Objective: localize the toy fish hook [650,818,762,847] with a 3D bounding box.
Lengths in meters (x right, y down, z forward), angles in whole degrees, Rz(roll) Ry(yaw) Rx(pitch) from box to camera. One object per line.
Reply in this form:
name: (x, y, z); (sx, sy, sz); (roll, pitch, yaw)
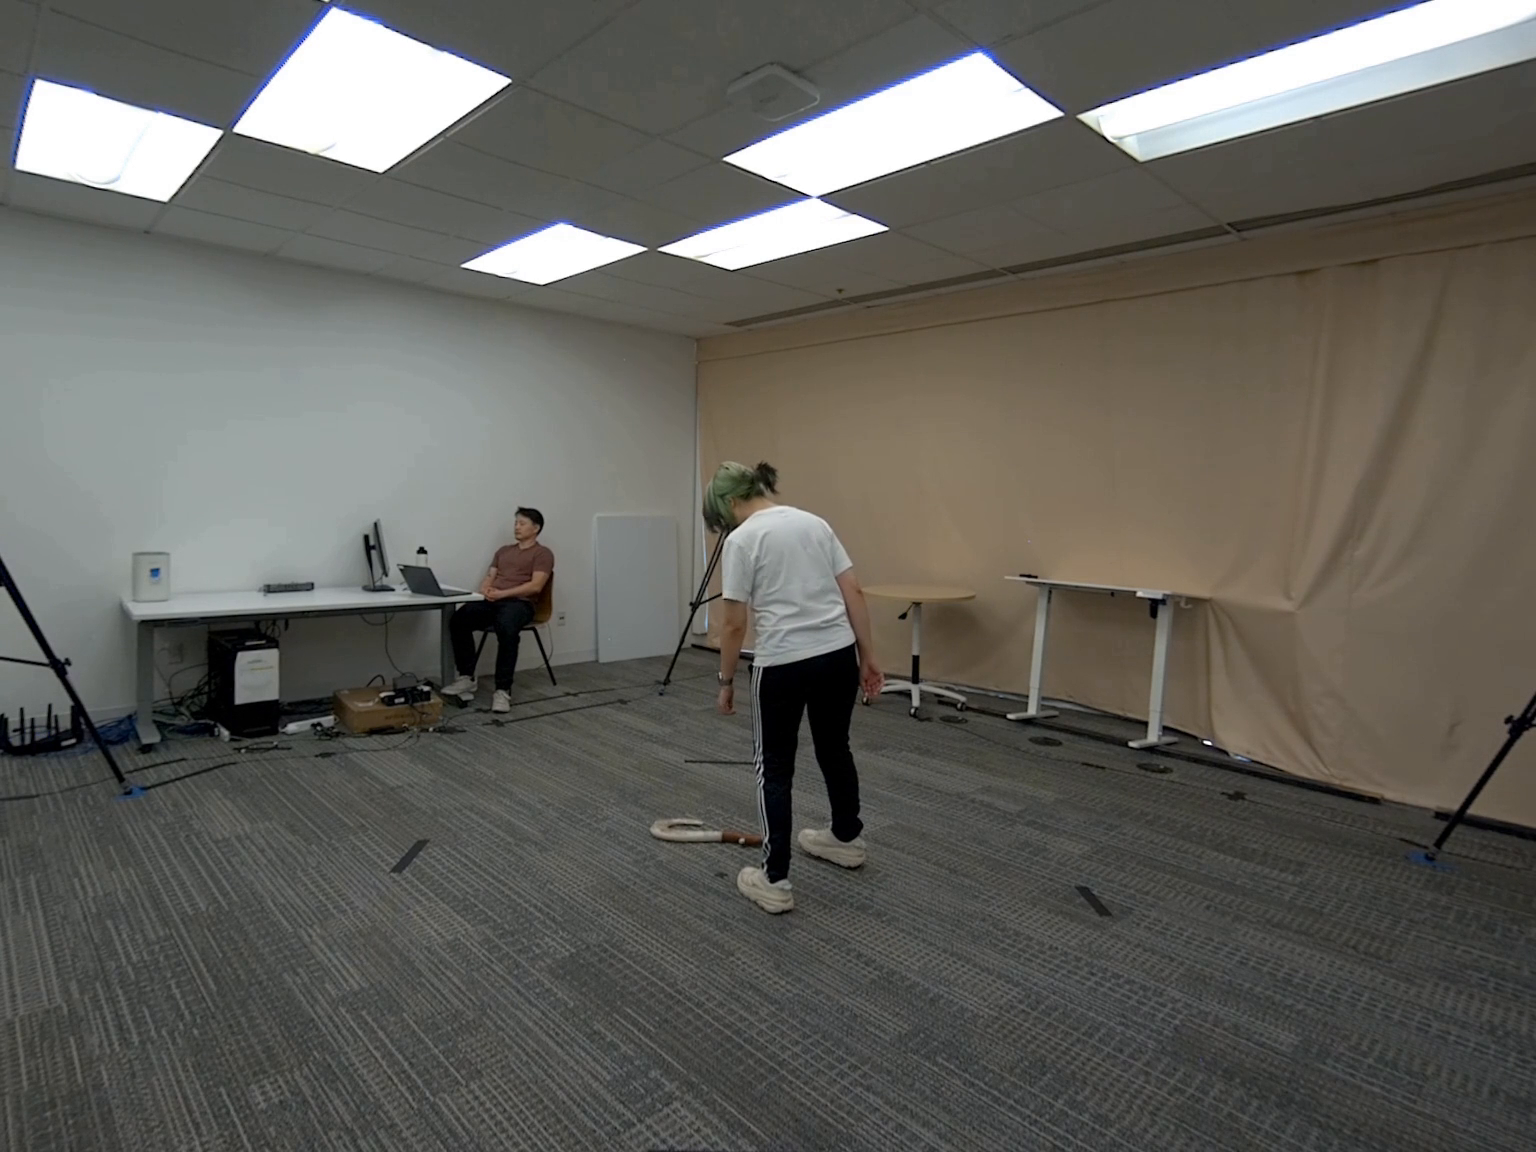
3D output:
toy fish hook: (-0.239, 1.048, 3.462); (0.511, 0.048, 0.223); (2, 7, 11)
